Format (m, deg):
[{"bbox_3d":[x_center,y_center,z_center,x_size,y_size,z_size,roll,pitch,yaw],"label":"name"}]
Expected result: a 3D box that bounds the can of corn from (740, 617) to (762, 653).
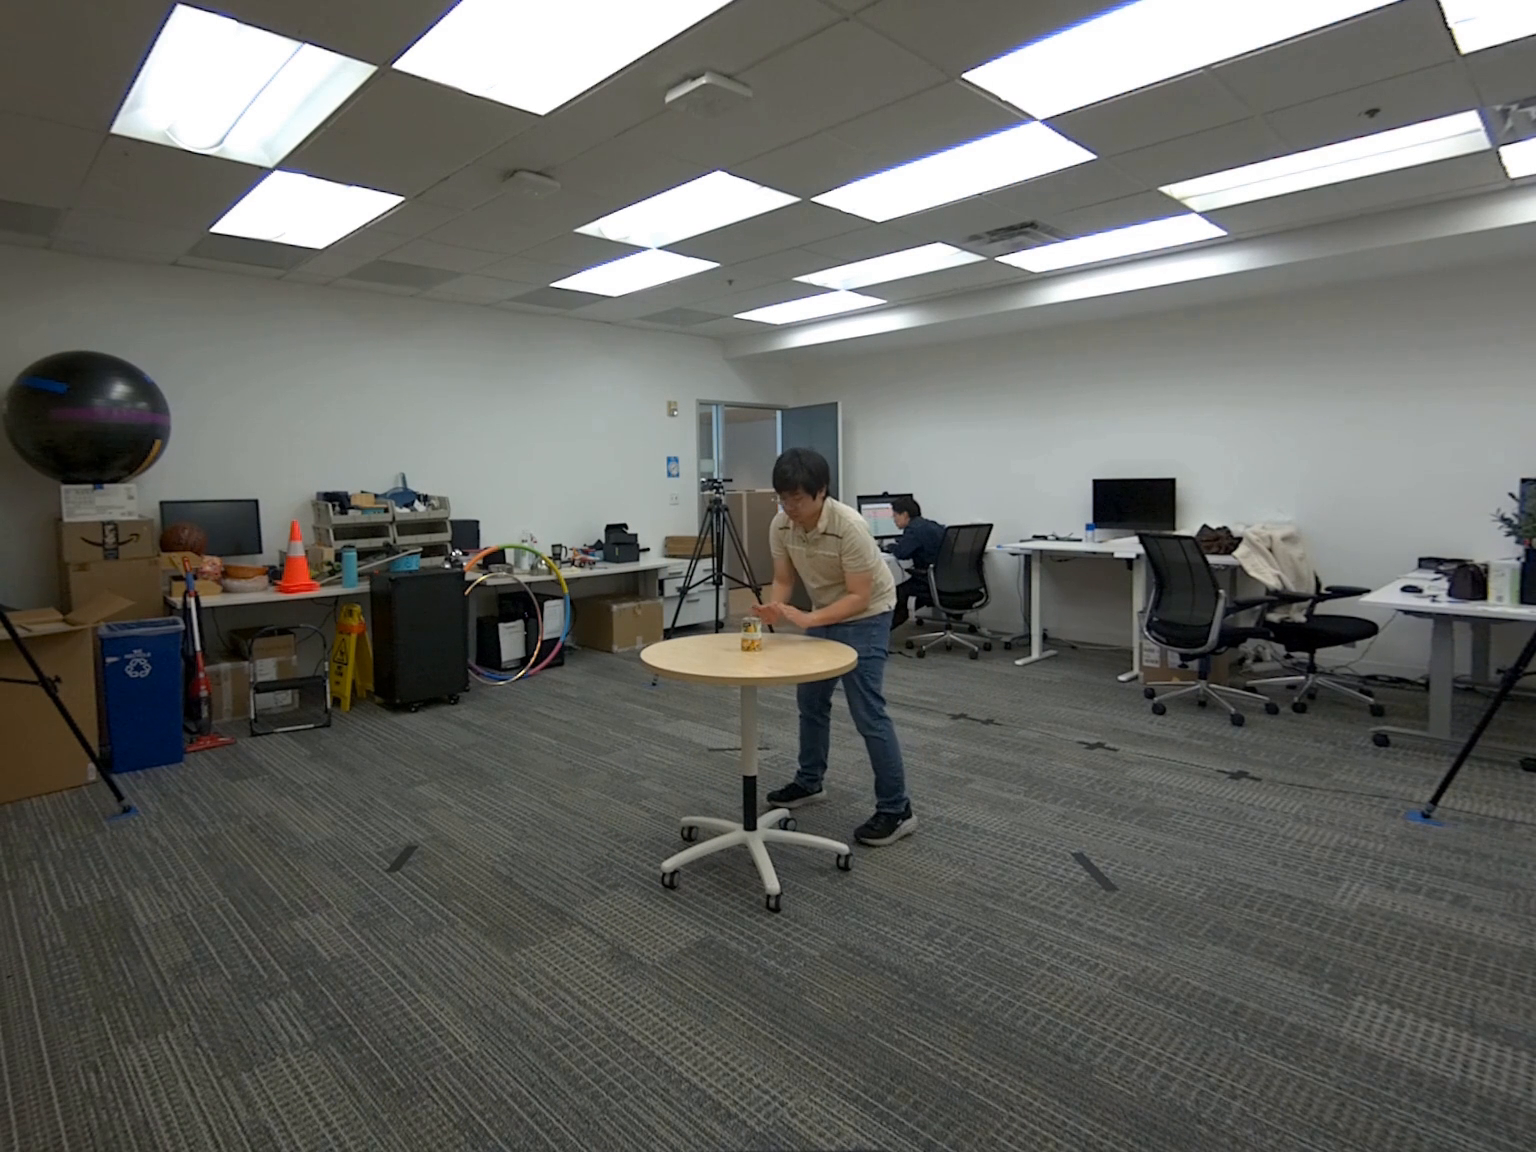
[{"bbox_3d":[-0.054,0.214,3.067,0.074,0.111,0.074,1,3,-2],"label":"can of corn"}]
